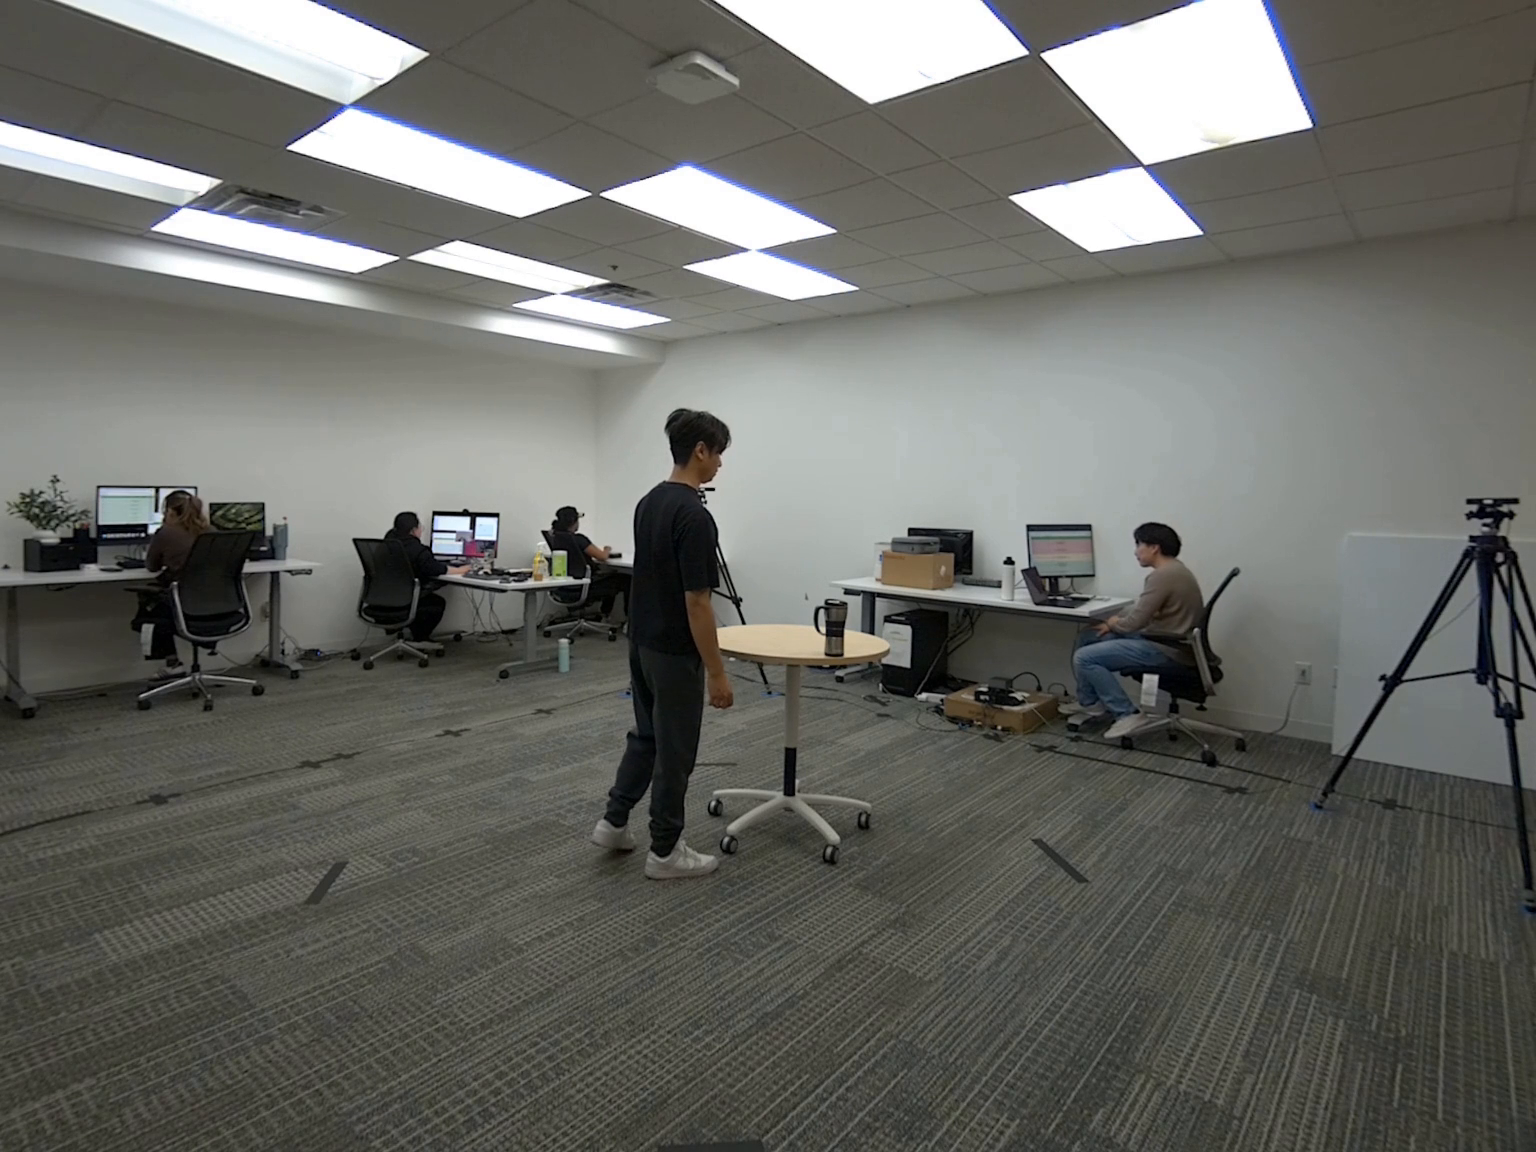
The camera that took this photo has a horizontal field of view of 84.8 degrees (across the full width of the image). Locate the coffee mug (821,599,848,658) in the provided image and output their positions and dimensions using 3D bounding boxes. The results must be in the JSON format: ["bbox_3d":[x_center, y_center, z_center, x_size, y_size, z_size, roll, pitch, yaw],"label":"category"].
[{"bbox_3d":[0.223,0.192,3.150,0.126,0.201,0.085,8,9,35],"label":"coffee mug"}]
